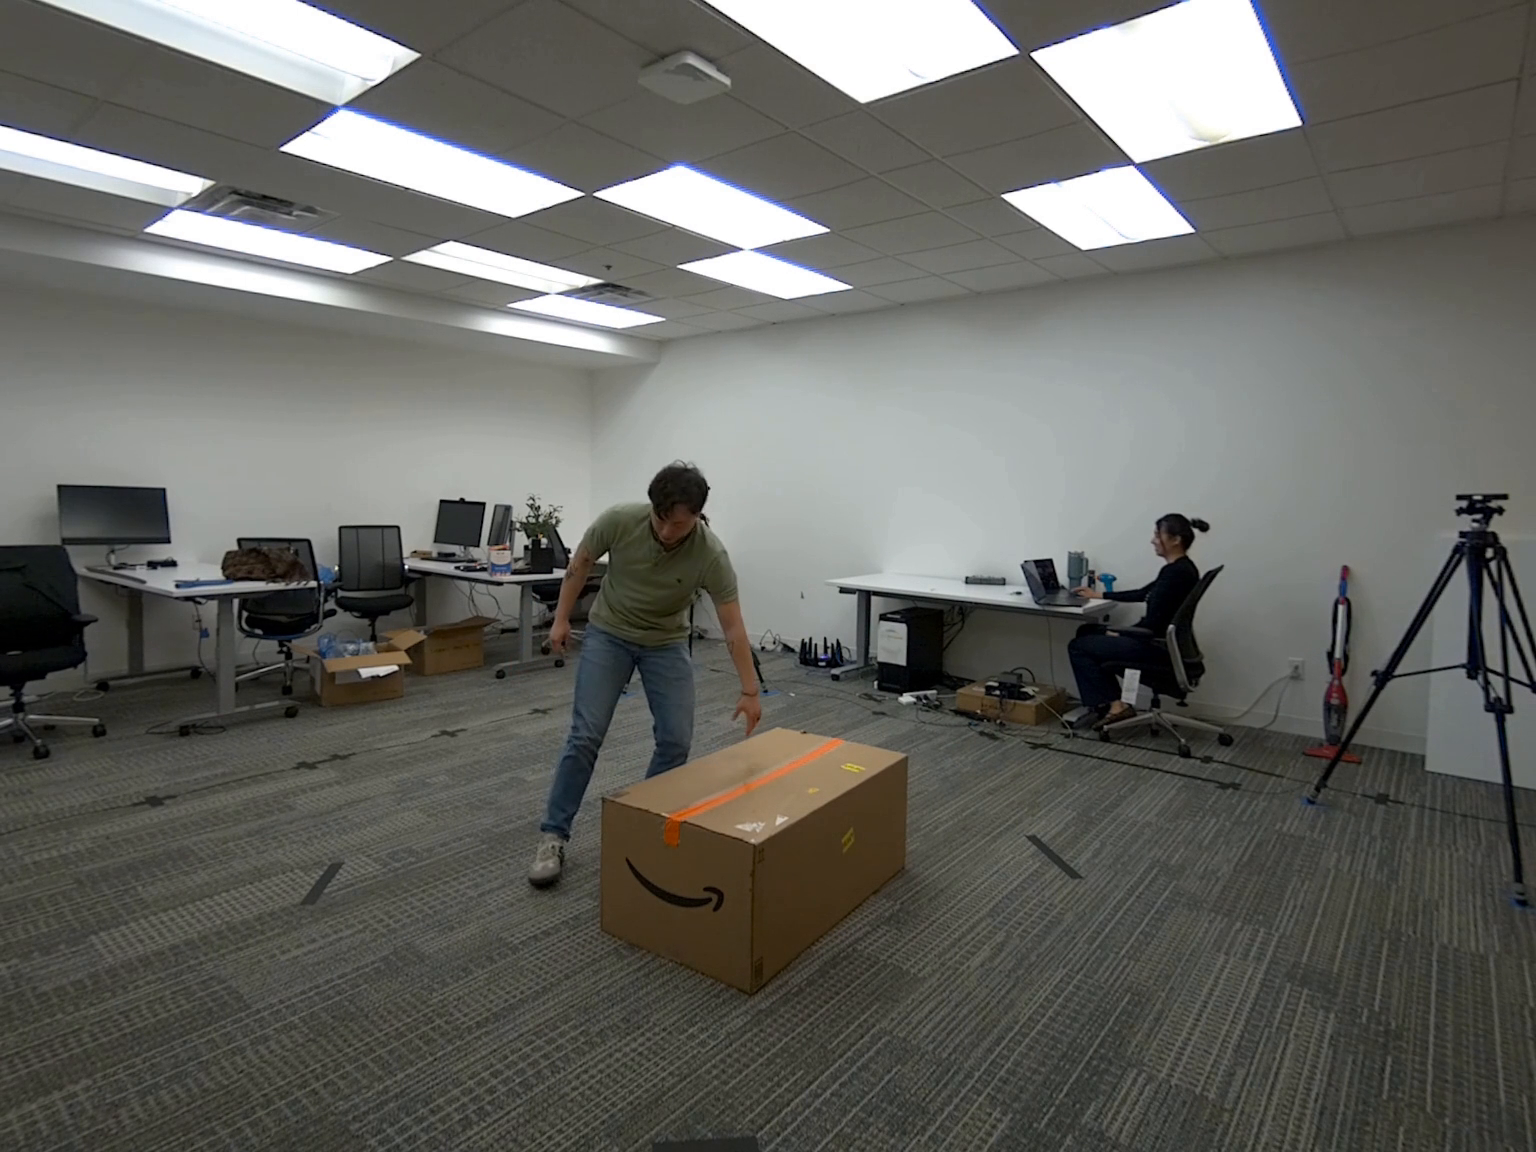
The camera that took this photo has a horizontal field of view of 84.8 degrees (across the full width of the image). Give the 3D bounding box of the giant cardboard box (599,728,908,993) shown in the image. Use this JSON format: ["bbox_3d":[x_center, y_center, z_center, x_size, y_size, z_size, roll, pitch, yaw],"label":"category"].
[{"bbox_3d":[-0.011,0.878,2.891,0.596,0.424,0.998,5,6,34],"label":"giant cardboard box"}]
